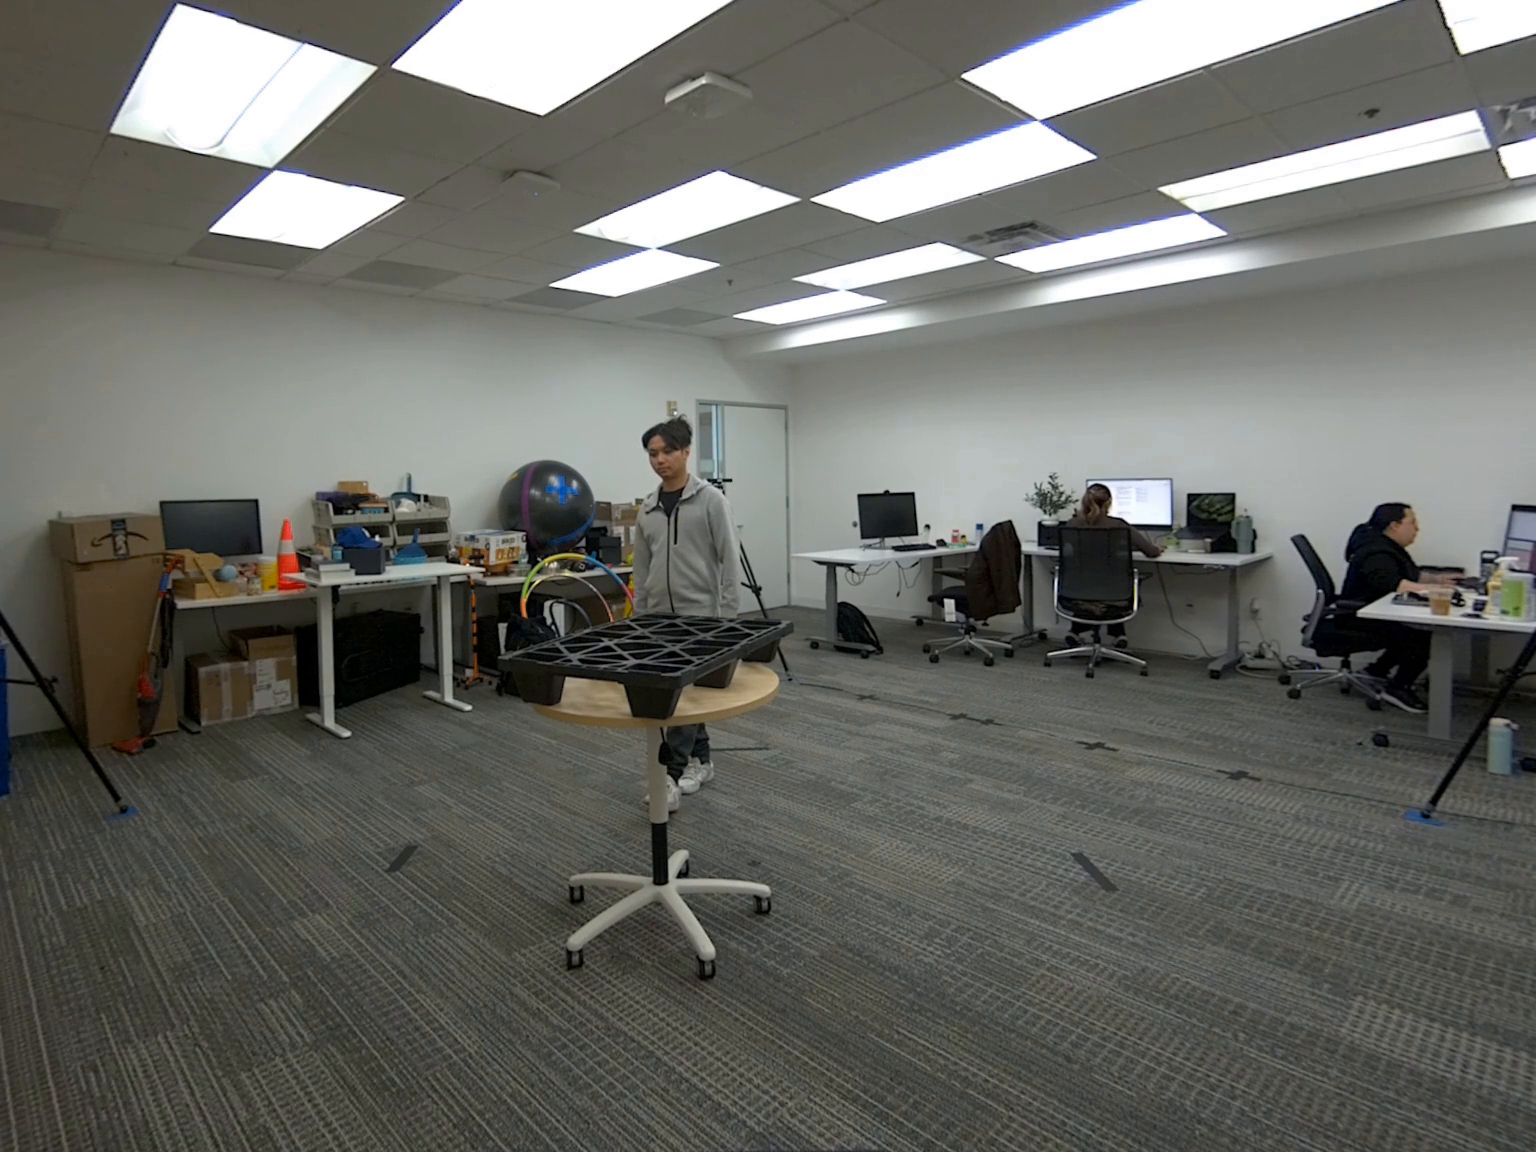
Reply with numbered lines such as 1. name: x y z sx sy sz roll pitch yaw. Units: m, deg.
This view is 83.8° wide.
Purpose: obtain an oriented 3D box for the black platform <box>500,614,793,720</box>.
1. black platform: -0.355 0.258 2.643 0.619 0.142 0.791 1 7 26
